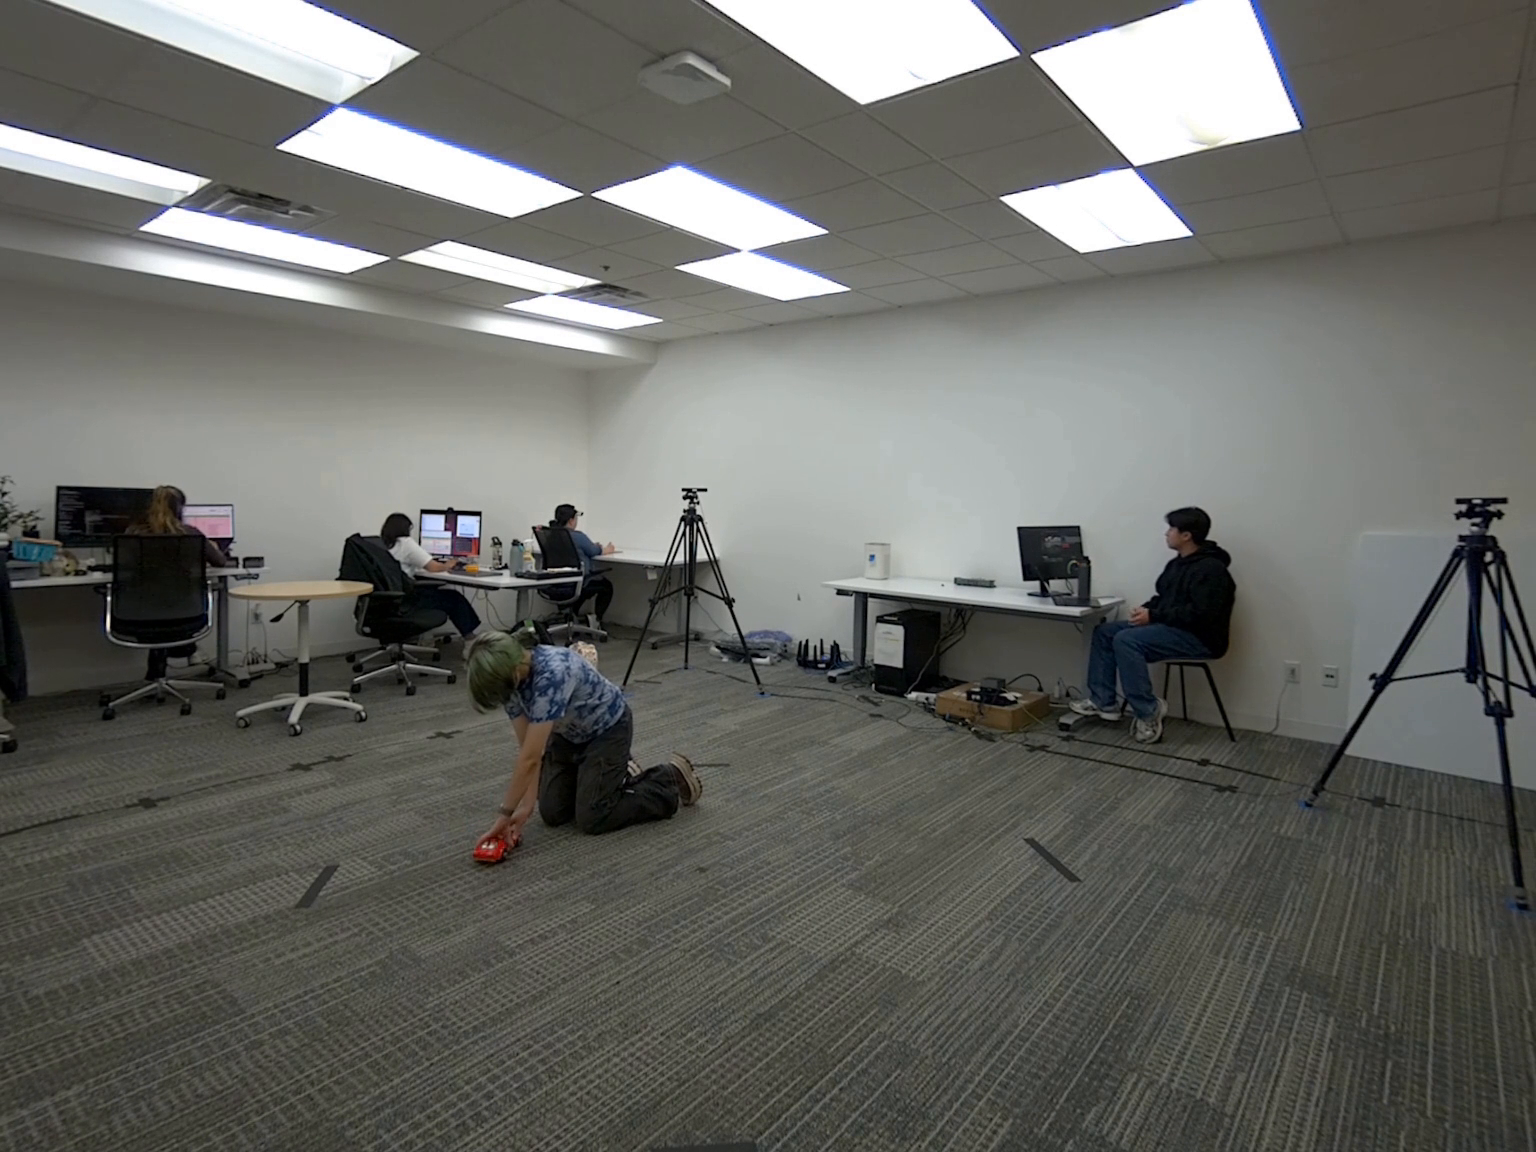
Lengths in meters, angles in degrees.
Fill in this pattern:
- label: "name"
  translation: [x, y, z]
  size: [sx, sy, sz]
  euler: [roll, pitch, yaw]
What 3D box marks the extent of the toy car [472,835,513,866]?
- label: "toy car"
  translation: [-1.041, 1.018, 3.192]
  size: [0.131, 0.084, 0.250]
  euler: [0, -8, 6]
